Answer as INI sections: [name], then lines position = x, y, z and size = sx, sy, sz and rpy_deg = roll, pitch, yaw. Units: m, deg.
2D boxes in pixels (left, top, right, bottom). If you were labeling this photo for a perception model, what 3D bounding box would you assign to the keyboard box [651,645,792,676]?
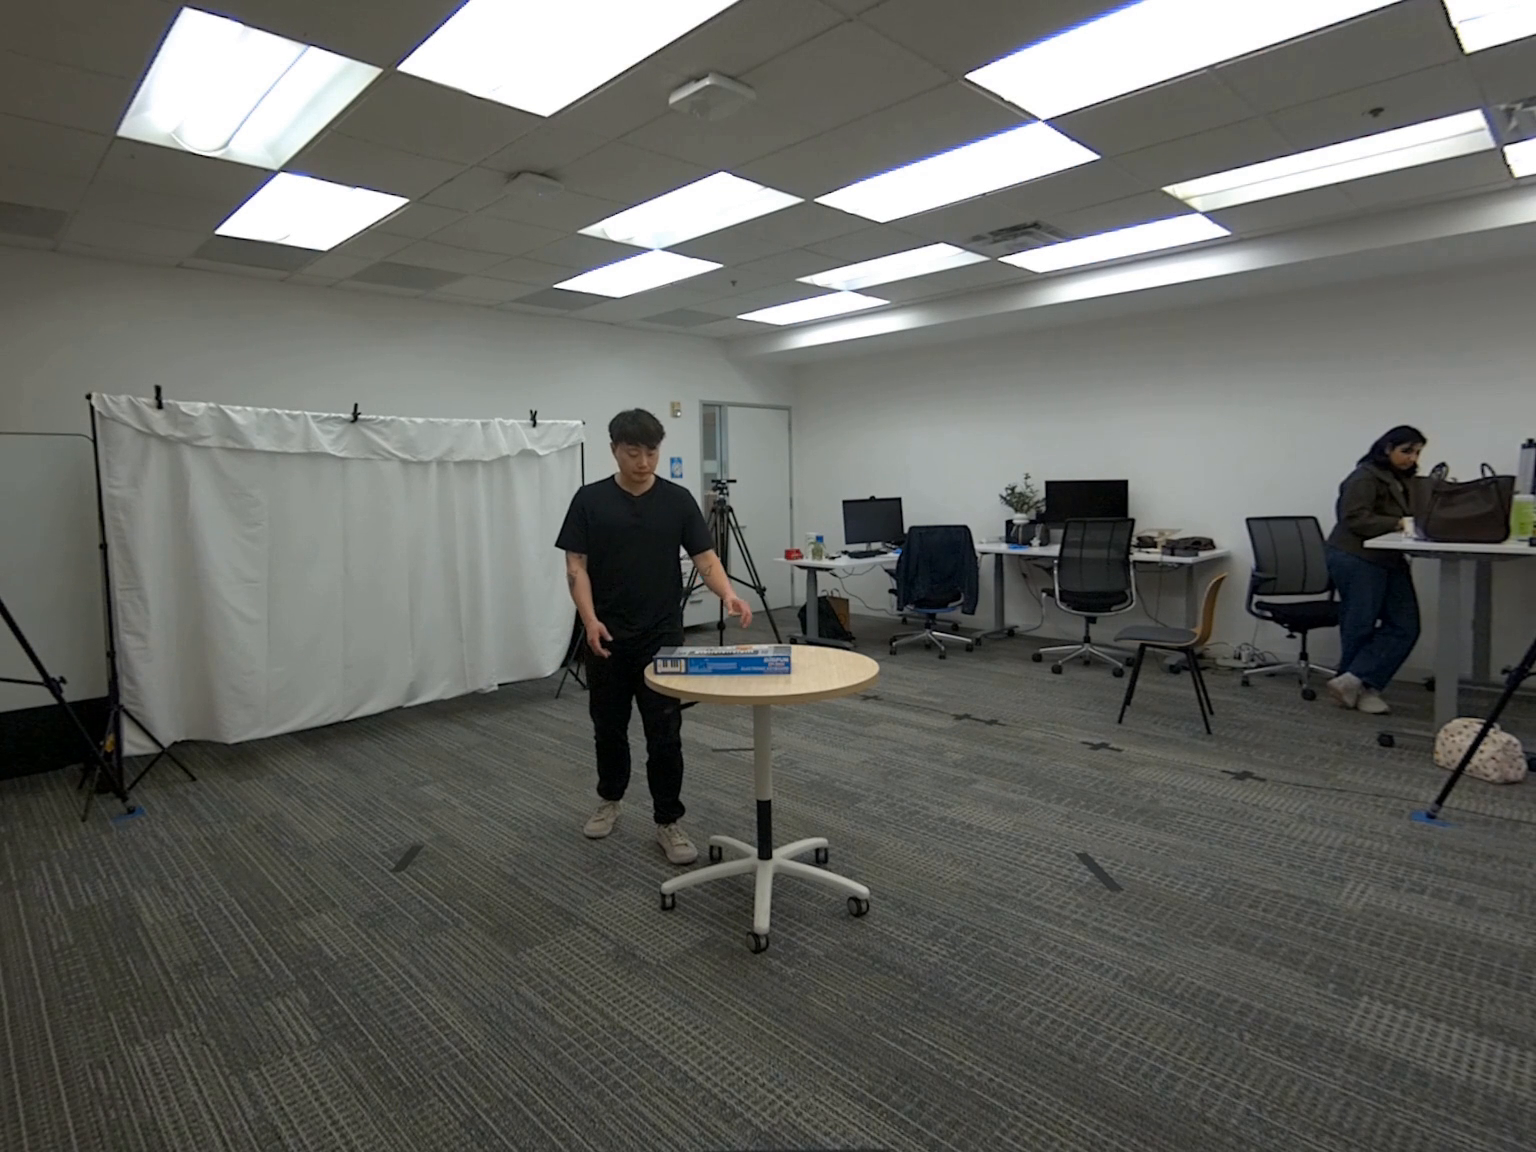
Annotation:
[keyboard box]
position = -0.143, 0.272, 2.788
size = 0.439, 0.059, 0.176
rpy_deg = -1, 7, 4
